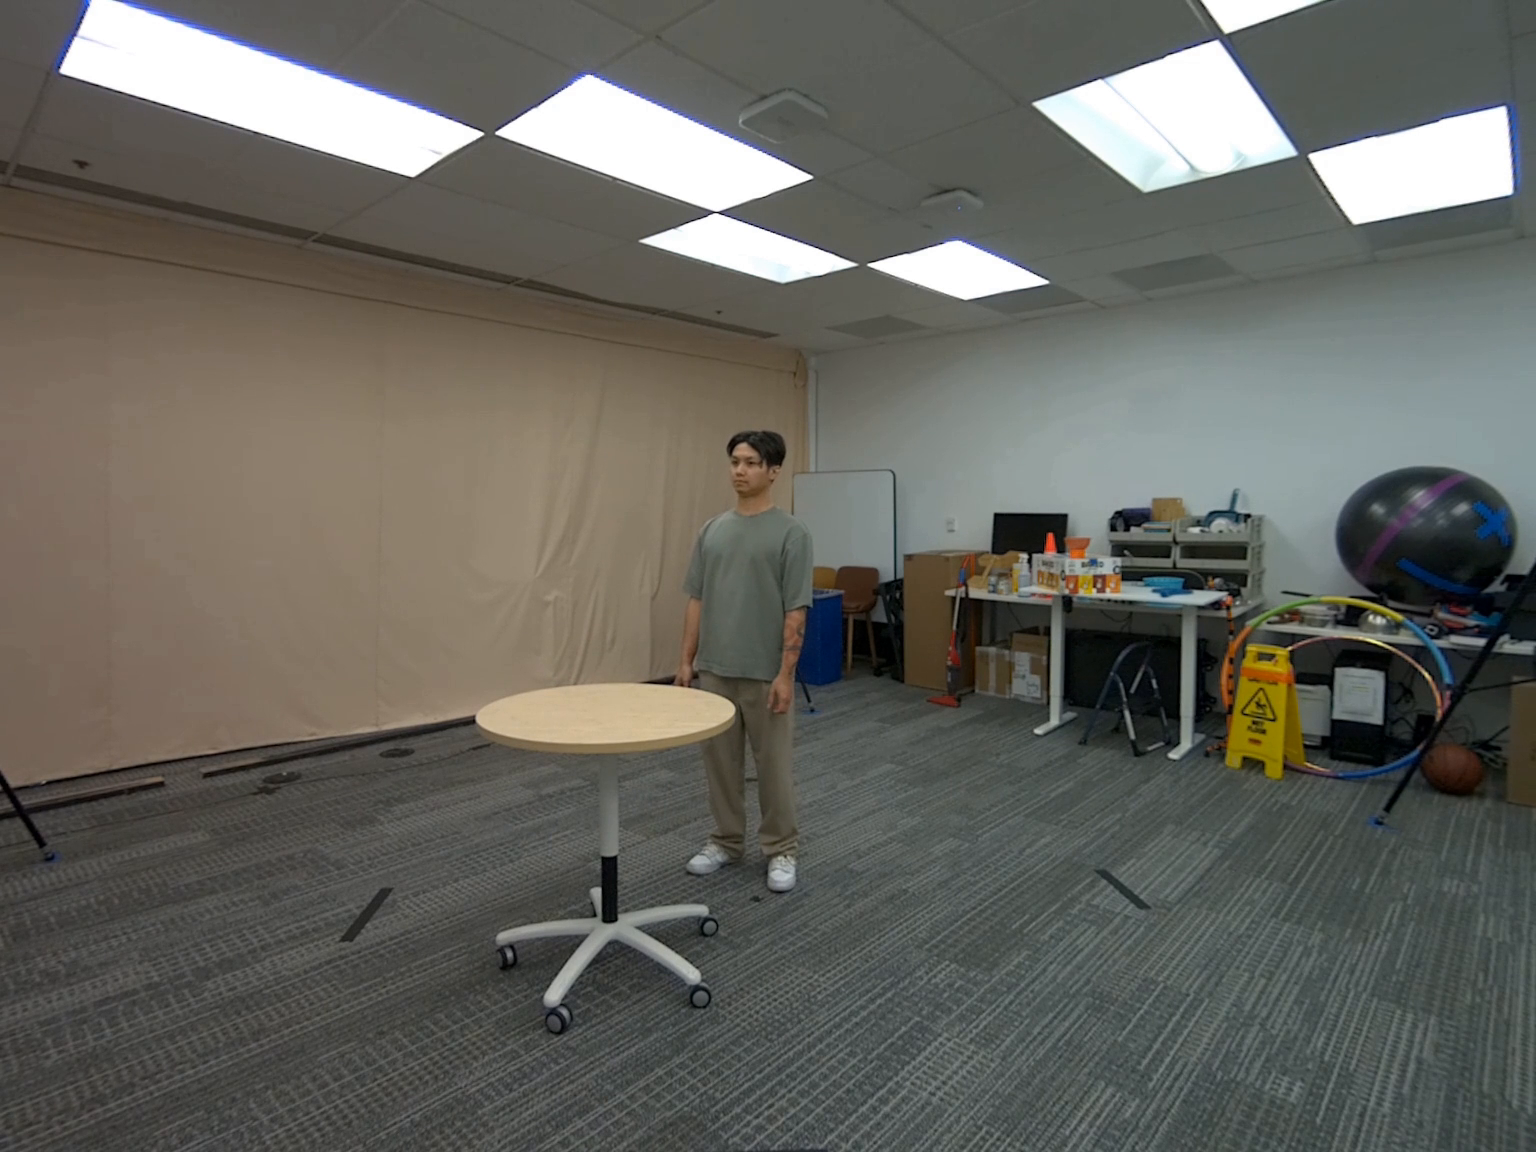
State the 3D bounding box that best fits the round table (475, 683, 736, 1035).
[{"bbox_3d":[-0.483,0.789,2.530,0.784,0.785,0.787,0,3,-2],"label":"round table"}]
